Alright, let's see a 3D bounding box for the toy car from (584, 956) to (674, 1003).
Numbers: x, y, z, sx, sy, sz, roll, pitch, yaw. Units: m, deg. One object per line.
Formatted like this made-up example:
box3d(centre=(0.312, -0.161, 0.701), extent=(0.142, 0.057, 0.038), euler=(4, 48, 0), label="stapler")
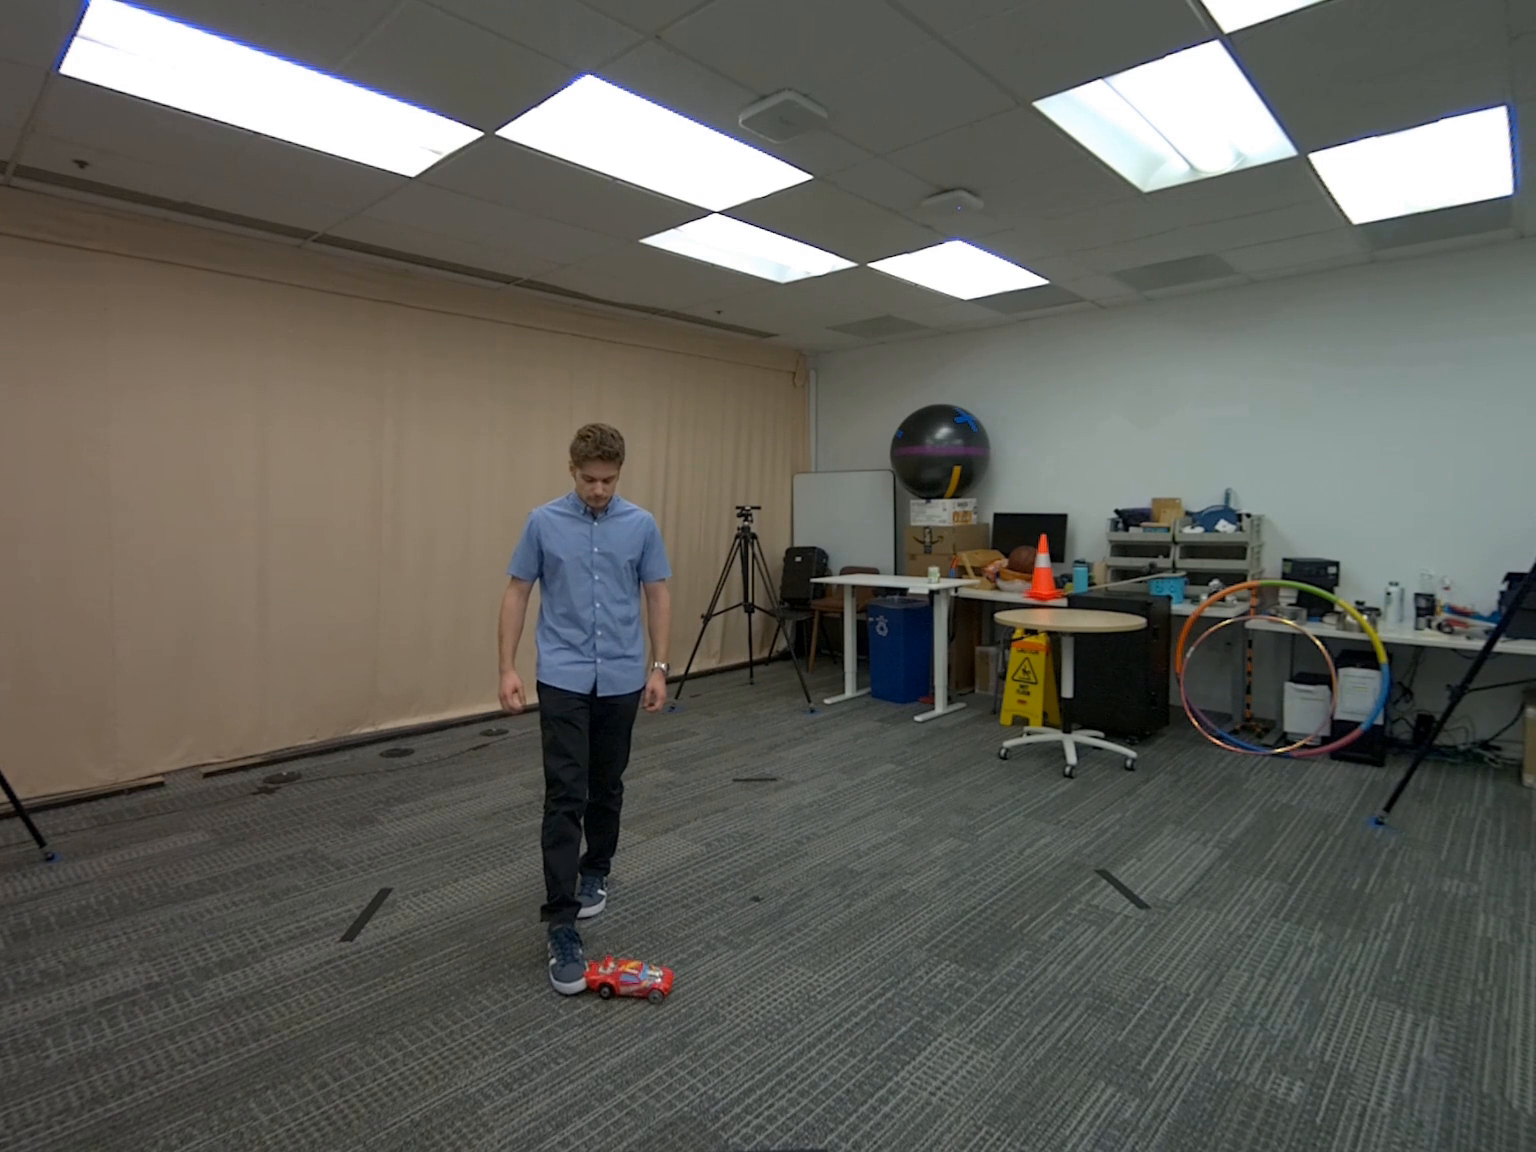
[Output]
box3d(centre=(-0.405, 1.164, 2.418), extent=(0.257, 0.083, 0.129), euler=(11, 5, 8), label="toy car")
